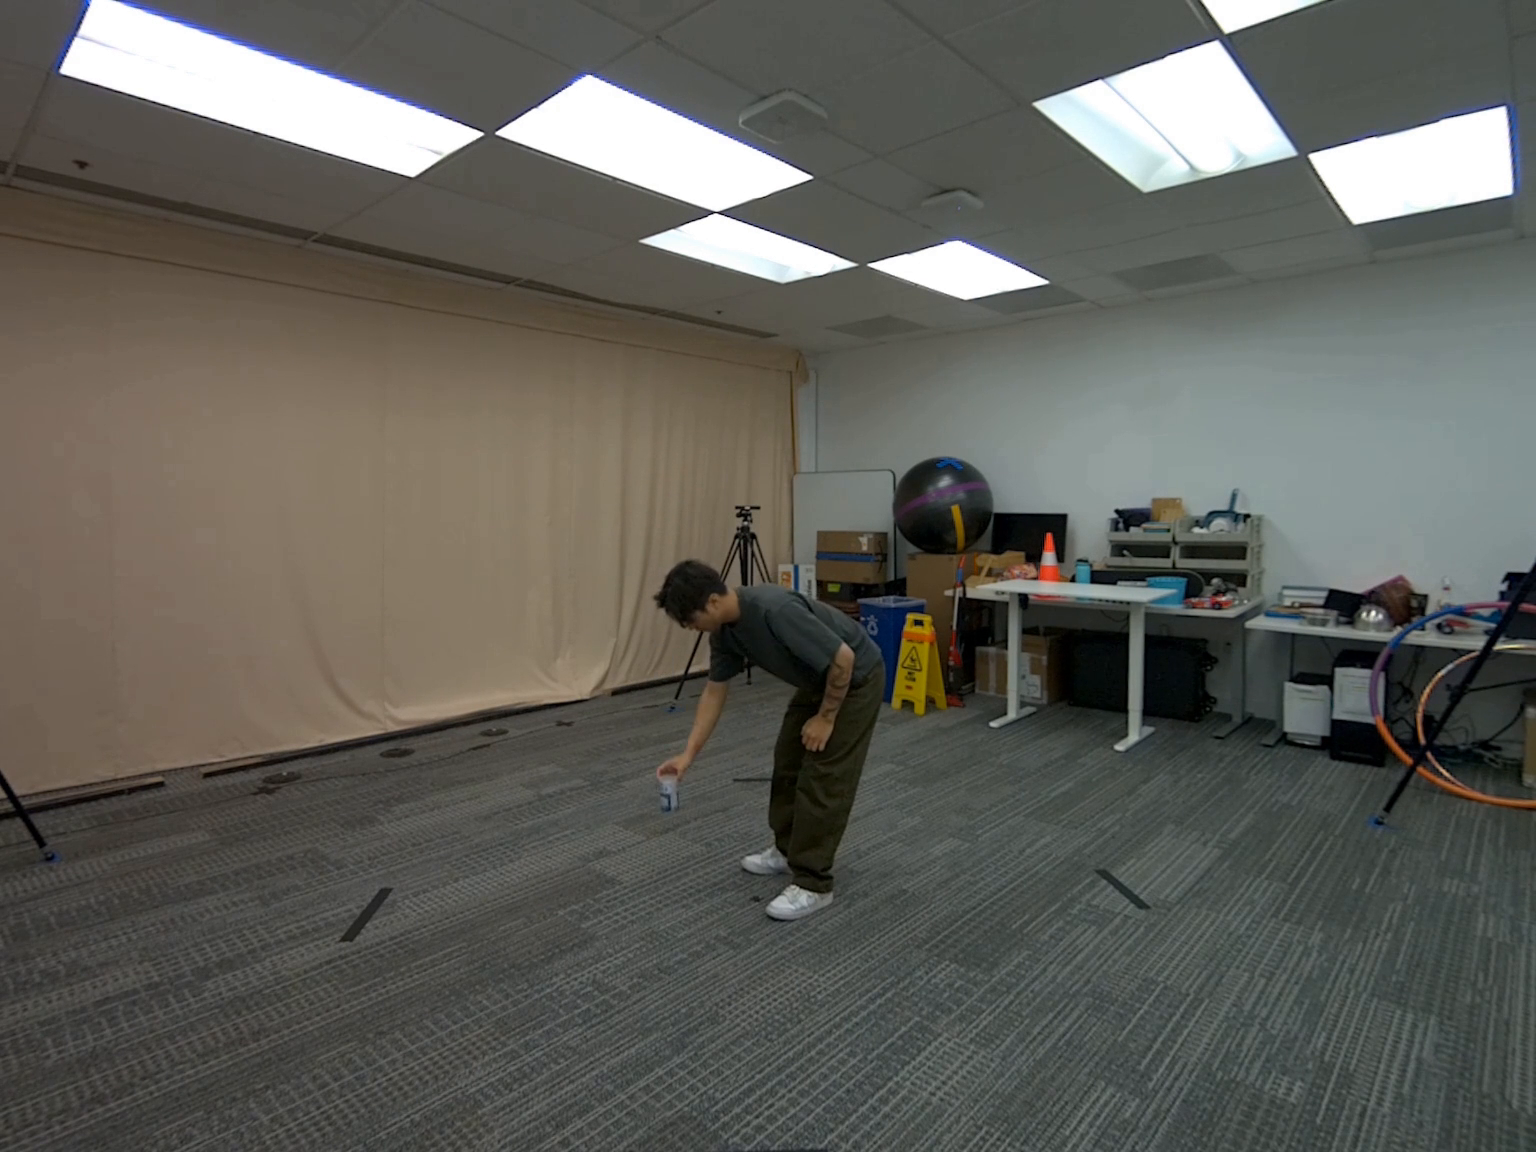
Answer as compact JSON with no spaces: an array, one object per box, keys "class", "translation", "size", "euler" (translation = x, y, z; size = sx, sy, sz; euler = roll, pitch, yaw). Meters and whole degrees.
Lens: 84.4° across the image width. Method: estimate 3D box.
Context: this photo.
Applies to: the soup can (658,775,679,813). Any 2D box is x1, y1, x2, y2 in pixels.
[{"class":"soup can","translation":[-0.345,0.808,3.038],"size":[0.067,0.122,0.067],"euler":[-2,-2,-2]}]
